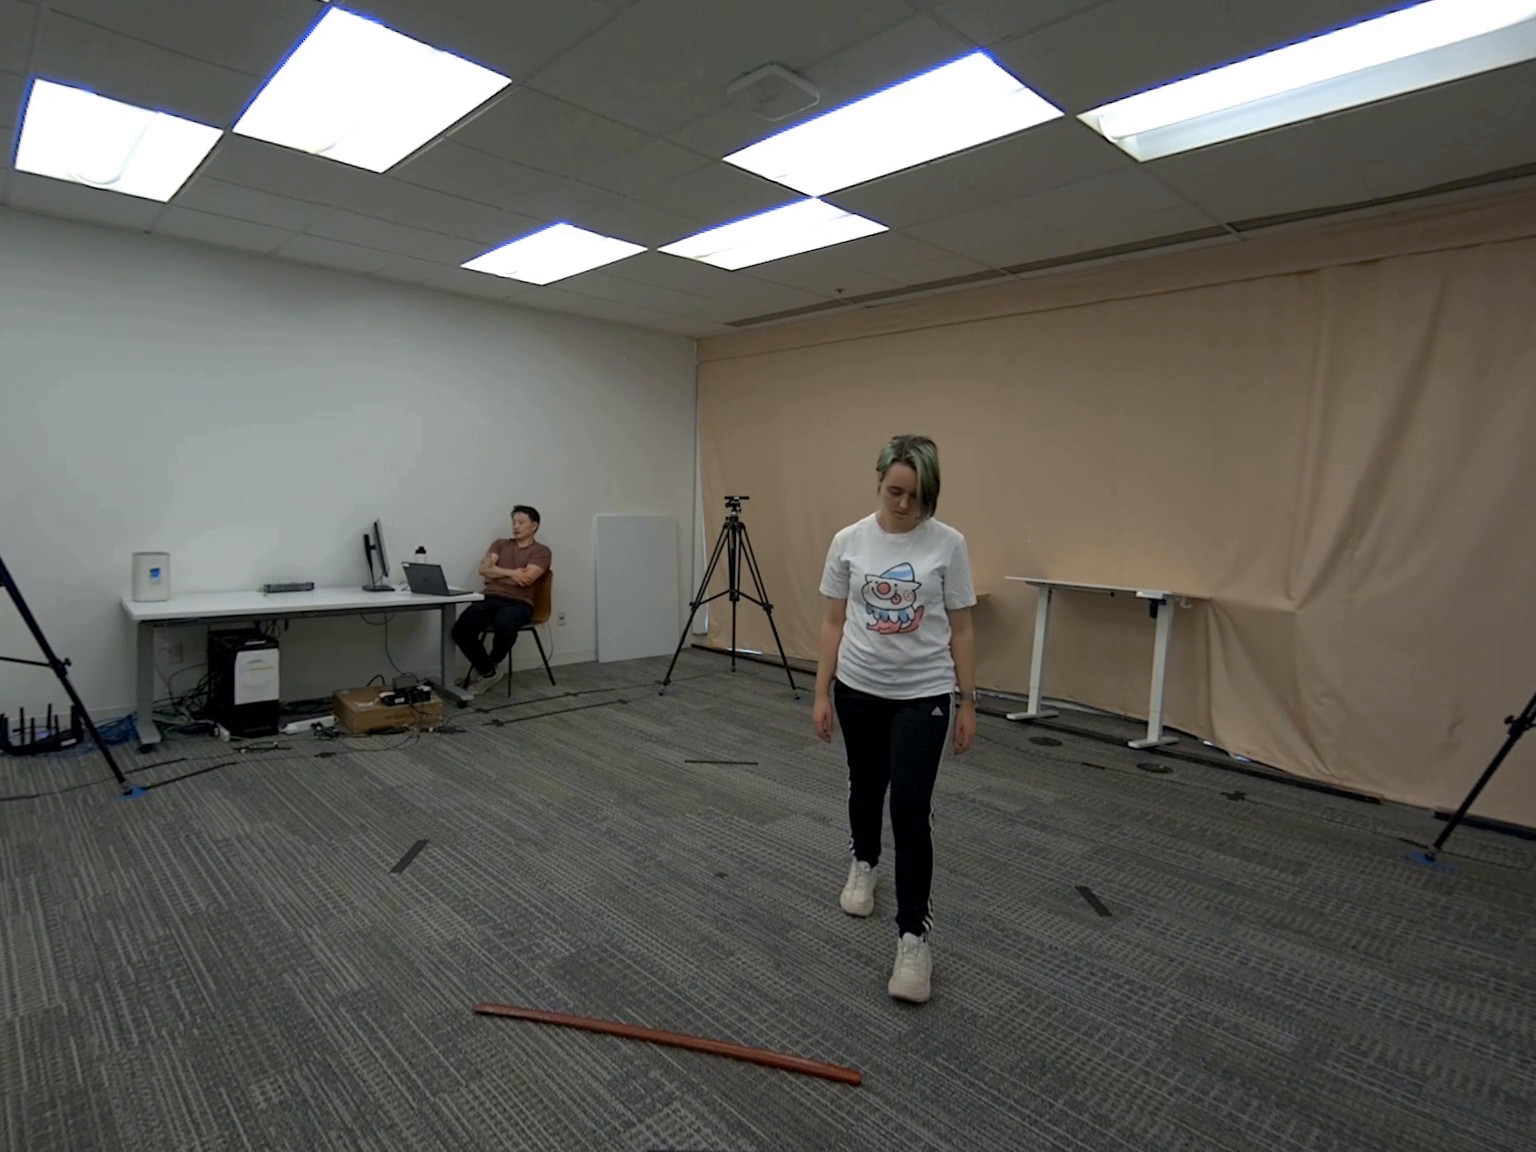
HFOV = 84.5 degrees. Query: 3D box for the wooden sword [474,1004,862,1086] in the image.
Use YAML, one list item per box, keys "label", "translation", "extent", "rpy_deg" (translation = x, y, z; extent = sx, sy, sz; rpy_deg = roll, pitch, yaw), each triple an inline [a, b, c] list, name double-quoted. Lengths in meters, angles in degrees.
- label: "wooden sword"
  translation: [-0.271, 1.164, 2.159]
  extent: [1.037, 0.024, 0.050]
  rpy_deg: [3, -17, 14]
